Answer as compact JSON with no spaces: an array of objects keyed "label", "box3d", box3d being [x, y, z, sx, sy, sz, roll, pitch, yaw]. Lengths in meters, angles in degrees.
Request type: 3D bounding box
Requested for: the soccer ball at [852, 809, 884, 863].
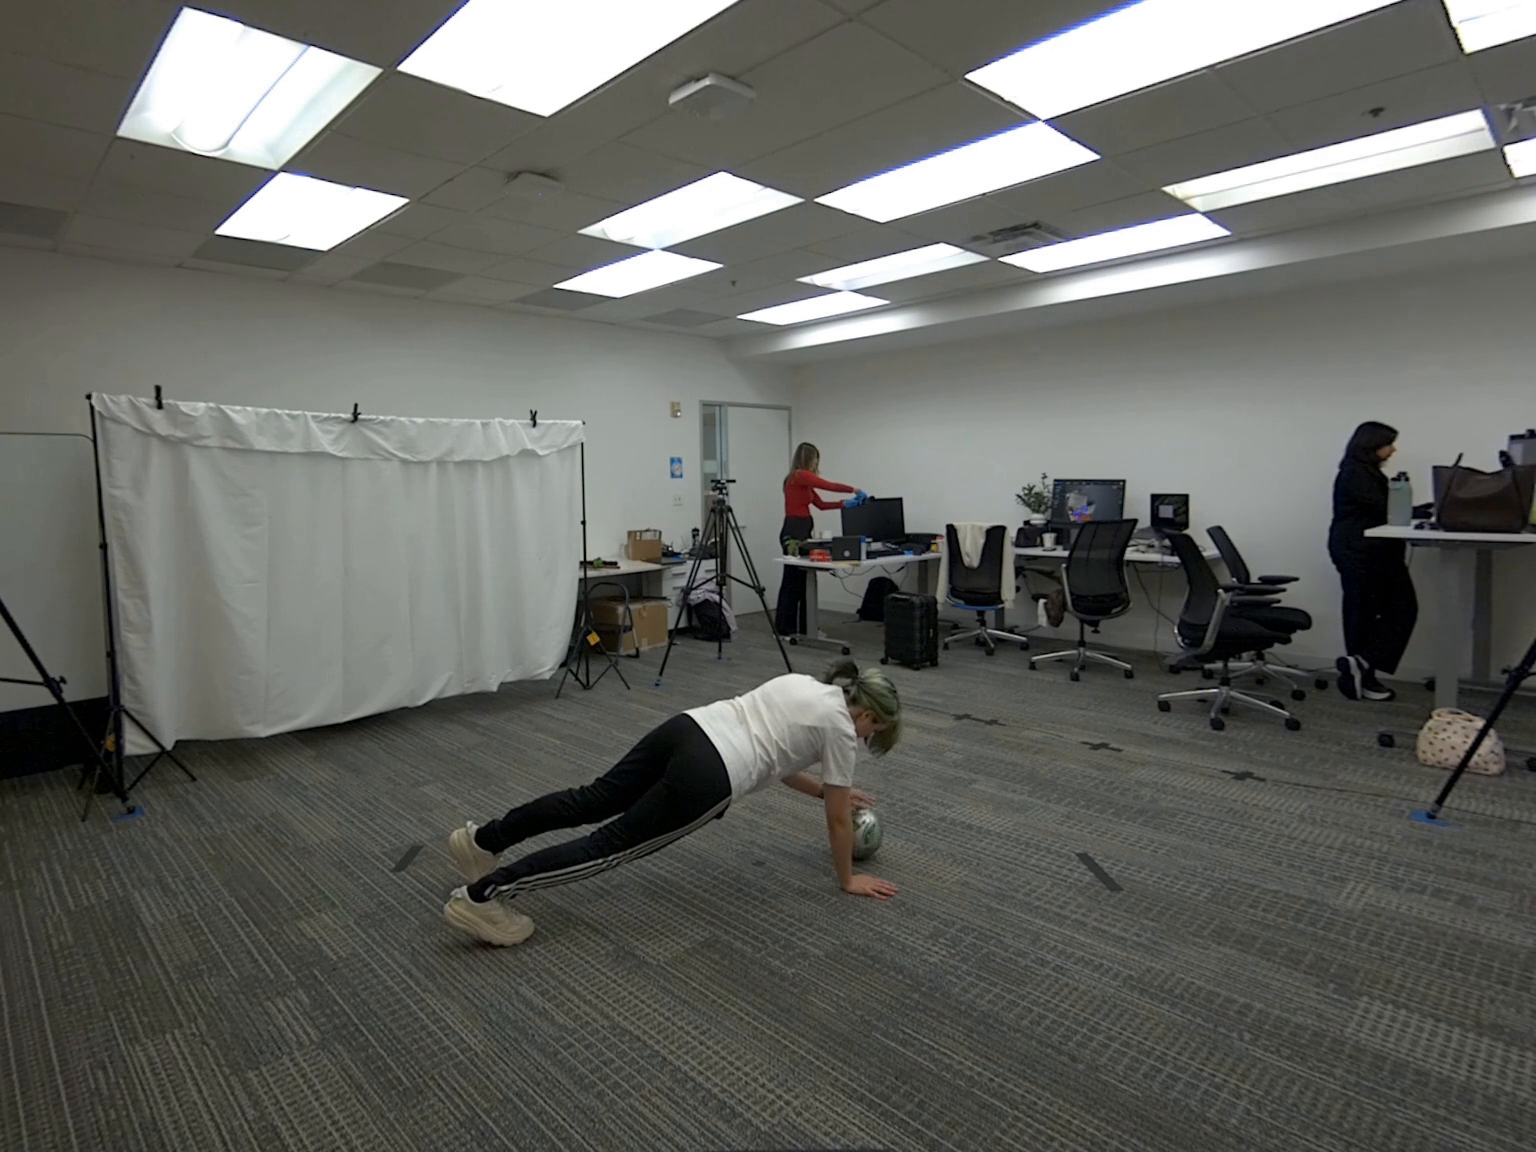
[{"label":"soccer ball","box3d":[0.327,0.942,3.147,0.187,0.187,0.188,-1,5,-2]}]
